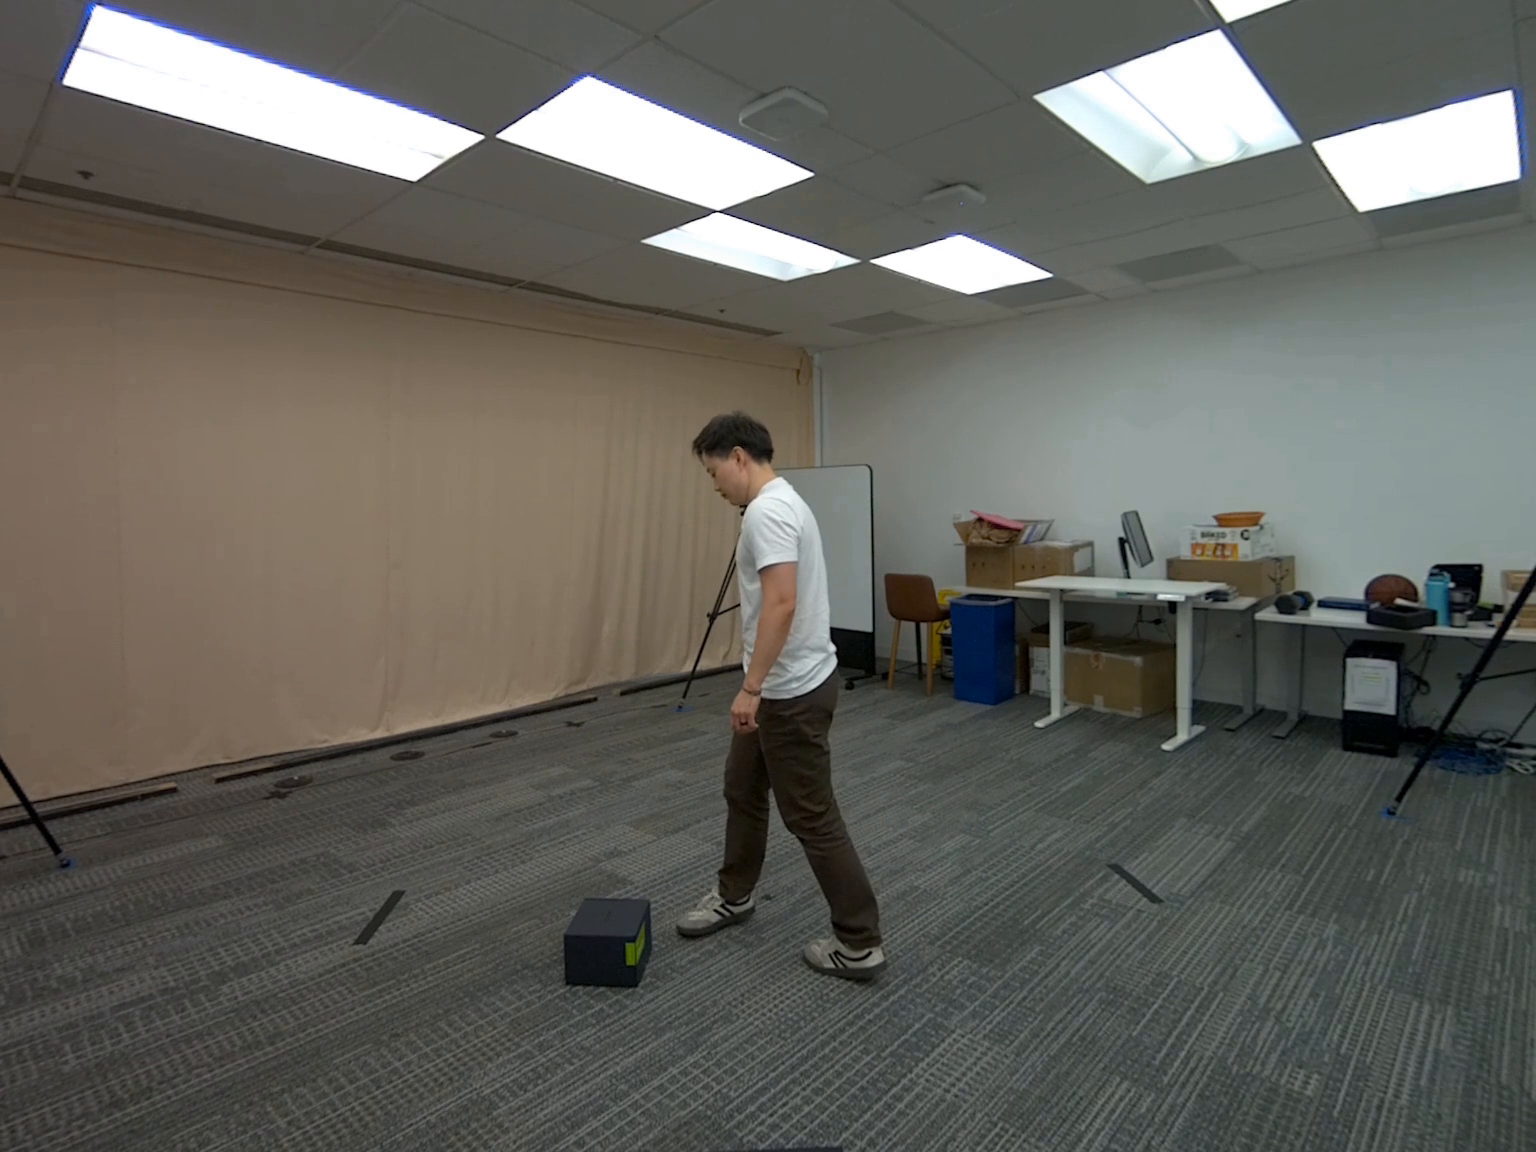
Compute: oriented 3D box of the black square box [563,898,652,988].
[{"bbox_3d":[-0.478,1.102,2.552,0.218,0.155,0.227,-1,4,4],"label":"black square box"}]
